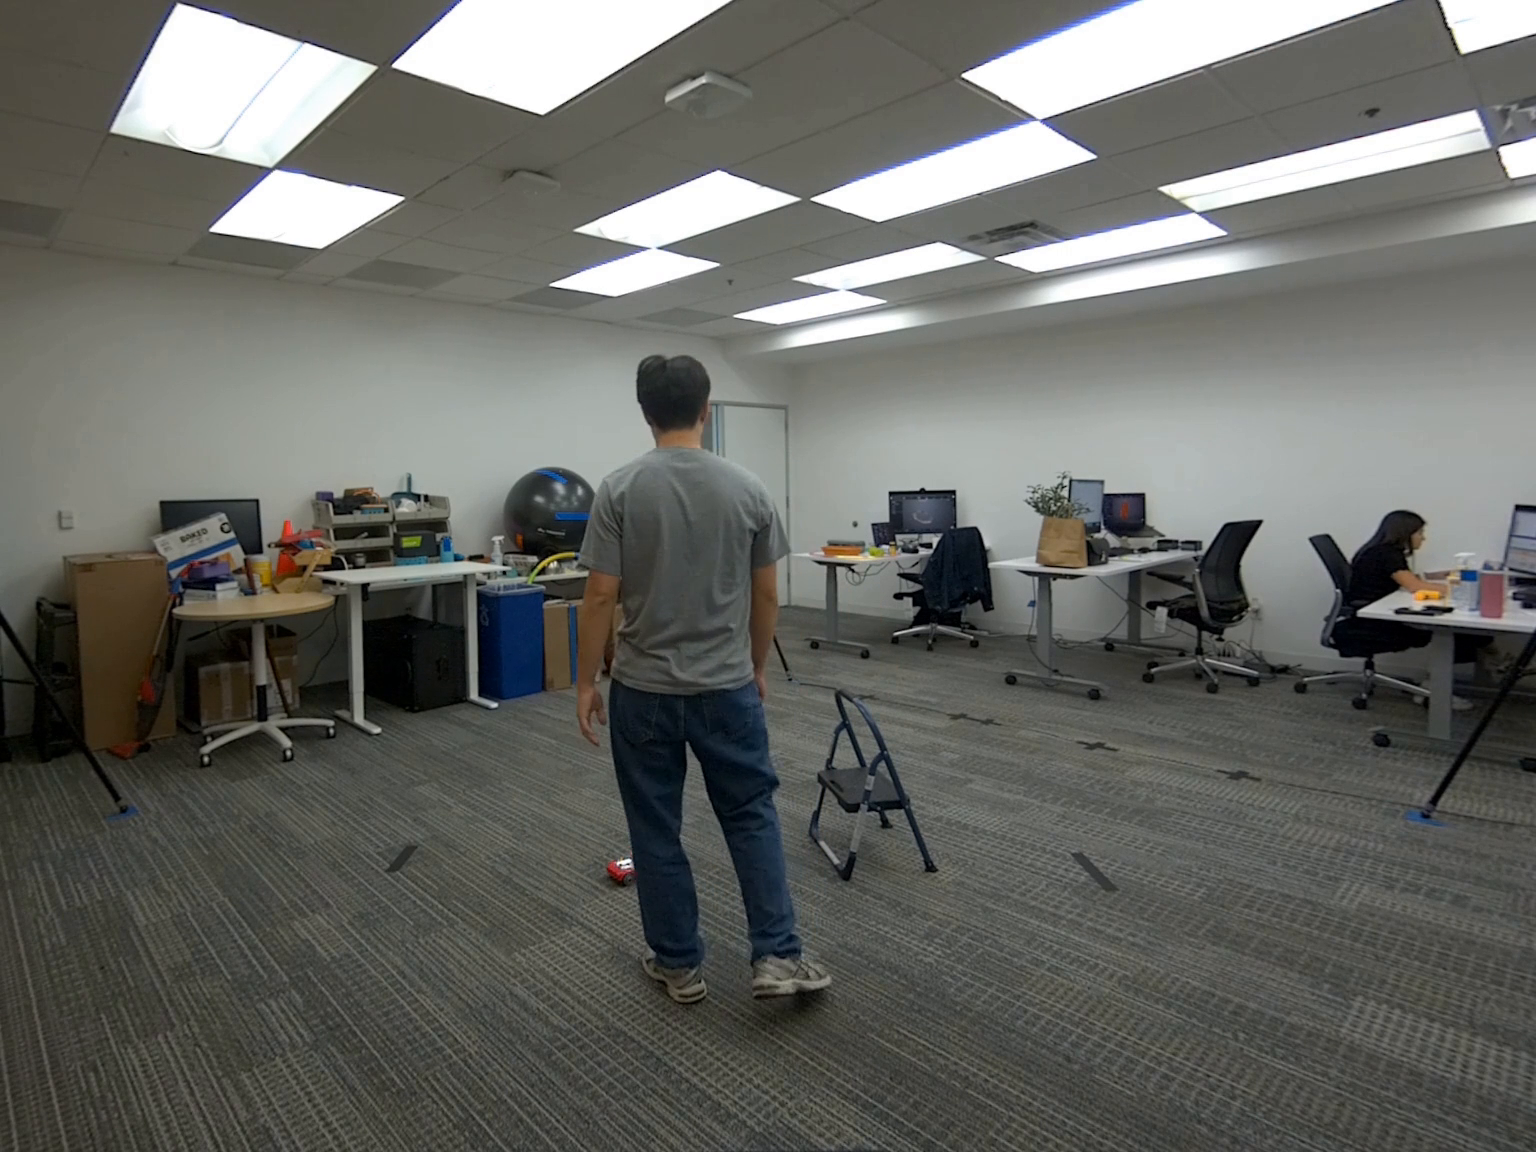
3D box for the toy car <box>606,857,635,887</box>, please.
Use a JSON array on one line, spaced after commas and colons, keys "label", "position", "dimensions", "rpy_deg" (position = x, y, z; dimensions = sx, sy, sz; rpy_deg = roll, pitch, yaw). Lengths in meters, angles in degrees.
[{"label": "toy car", "position": [-0.446, 1.029, 3.051], "dimensions": [0.250, 0.082, 0.134], "rpy_deg": [-19, 15, -37]}]
